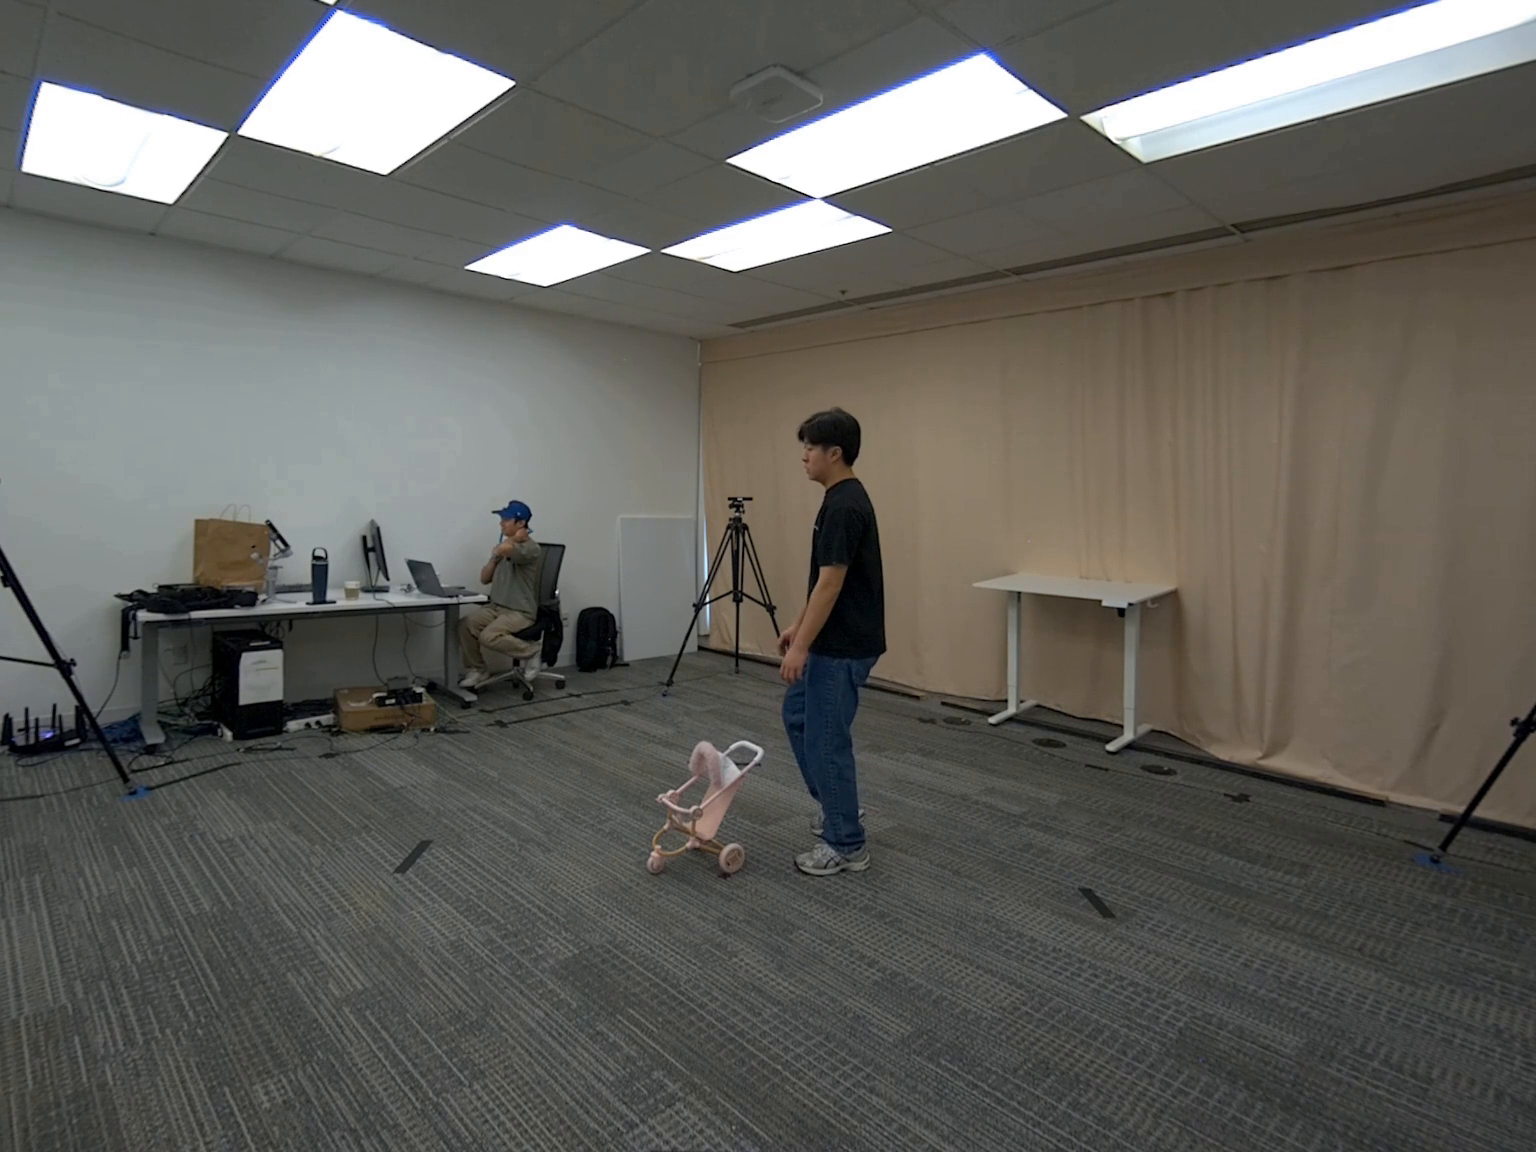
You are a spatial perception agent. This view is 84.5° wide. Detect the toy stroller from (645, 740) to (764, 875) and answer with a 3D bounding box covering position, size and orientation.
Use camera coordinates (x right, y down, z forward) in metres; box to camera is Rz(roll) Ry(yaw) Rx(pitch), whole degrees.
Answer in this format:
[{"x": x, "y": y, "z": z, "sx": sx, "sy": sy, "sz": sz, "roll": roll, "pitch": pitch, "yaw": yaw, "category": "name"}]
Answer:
[{"x": -0.260, "y": 0.871, "z": 3.198, "sx": 0.333, "sy": 0.536, "sz": 0.287, "roll": 17, "pitch": -5, "yaw": -27, "category": "toy stroller"}]
